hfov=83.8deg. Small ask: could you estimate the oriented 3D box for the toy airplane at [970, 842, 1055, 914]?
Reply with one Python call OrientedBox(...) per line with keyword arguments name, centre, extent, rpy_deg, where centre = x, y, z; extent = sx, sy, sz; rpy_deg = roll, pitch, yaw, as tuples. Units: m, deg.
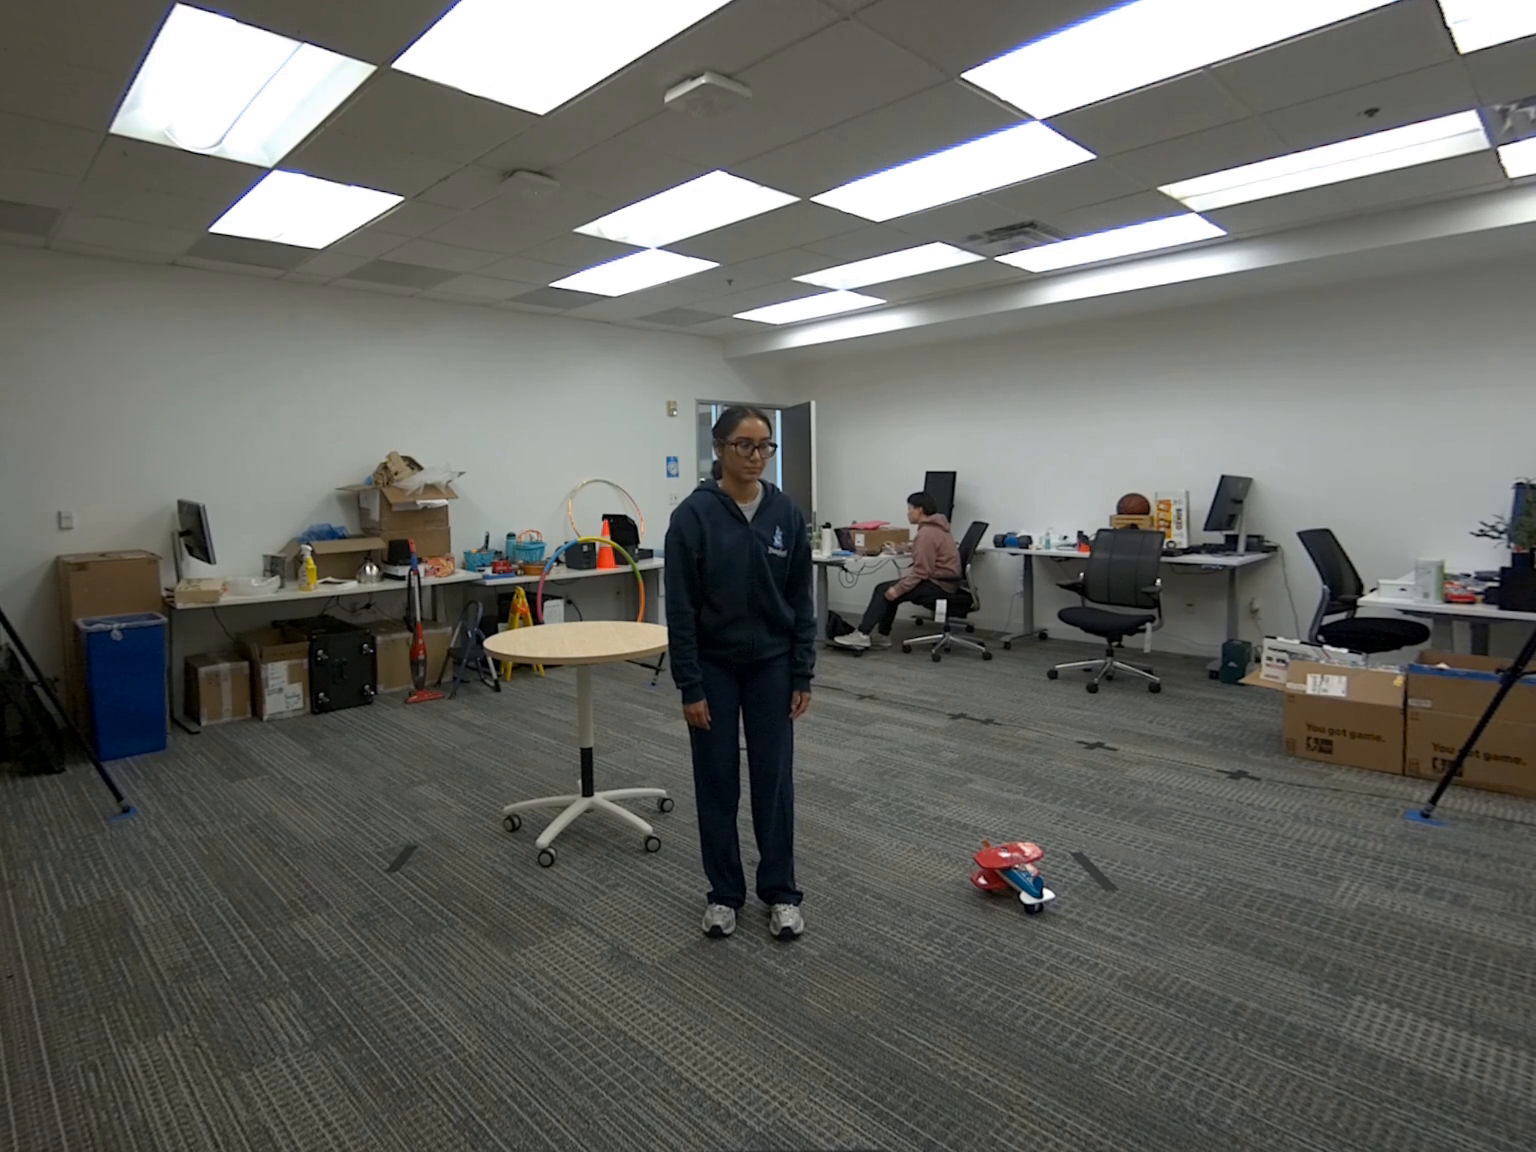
OrientedBox(name="toy airplane", centre=(0.830, 0.990, 2.799), extent=(0.267, 0.156, 0.244), rpy_deg=(2, 6, 42))
